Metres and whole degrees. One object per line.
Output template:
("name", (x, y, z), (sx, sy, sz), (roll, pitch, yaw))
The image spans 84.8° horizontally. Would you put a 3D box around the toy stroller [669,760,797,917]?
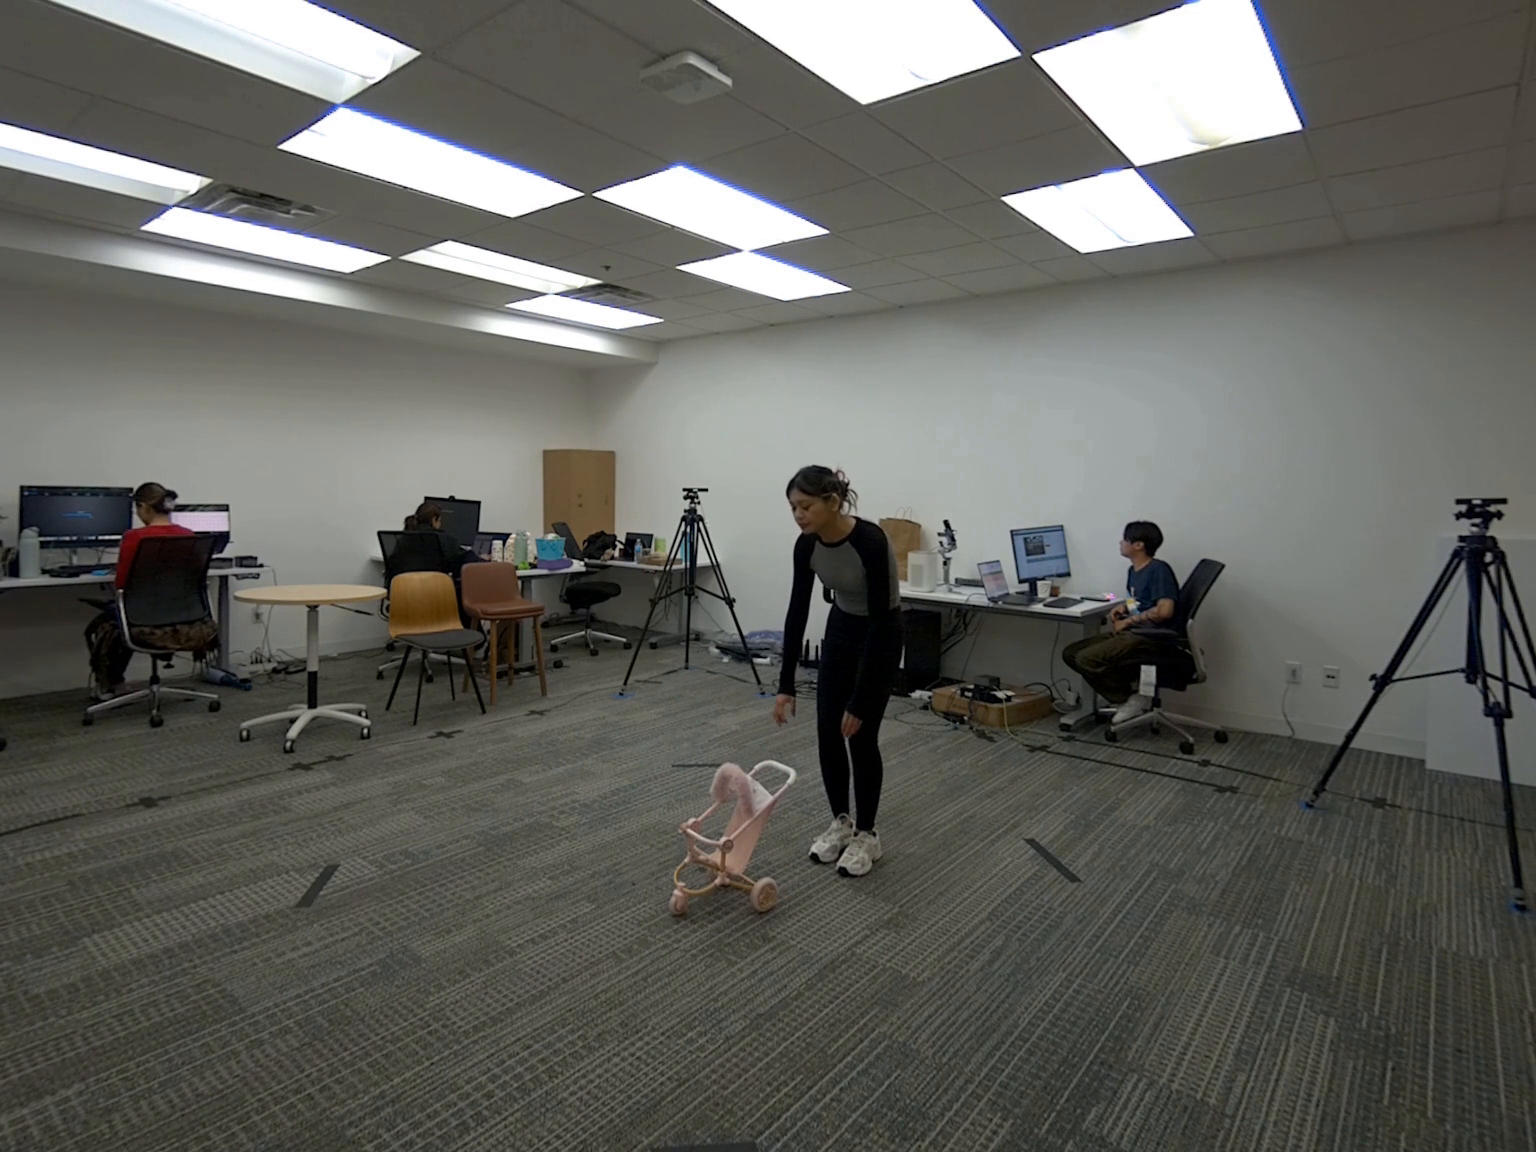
("toy stroller", (-0.139, 0.869, 2.866), (0.329, 0.537, 0.290), (19, -7, -32))
